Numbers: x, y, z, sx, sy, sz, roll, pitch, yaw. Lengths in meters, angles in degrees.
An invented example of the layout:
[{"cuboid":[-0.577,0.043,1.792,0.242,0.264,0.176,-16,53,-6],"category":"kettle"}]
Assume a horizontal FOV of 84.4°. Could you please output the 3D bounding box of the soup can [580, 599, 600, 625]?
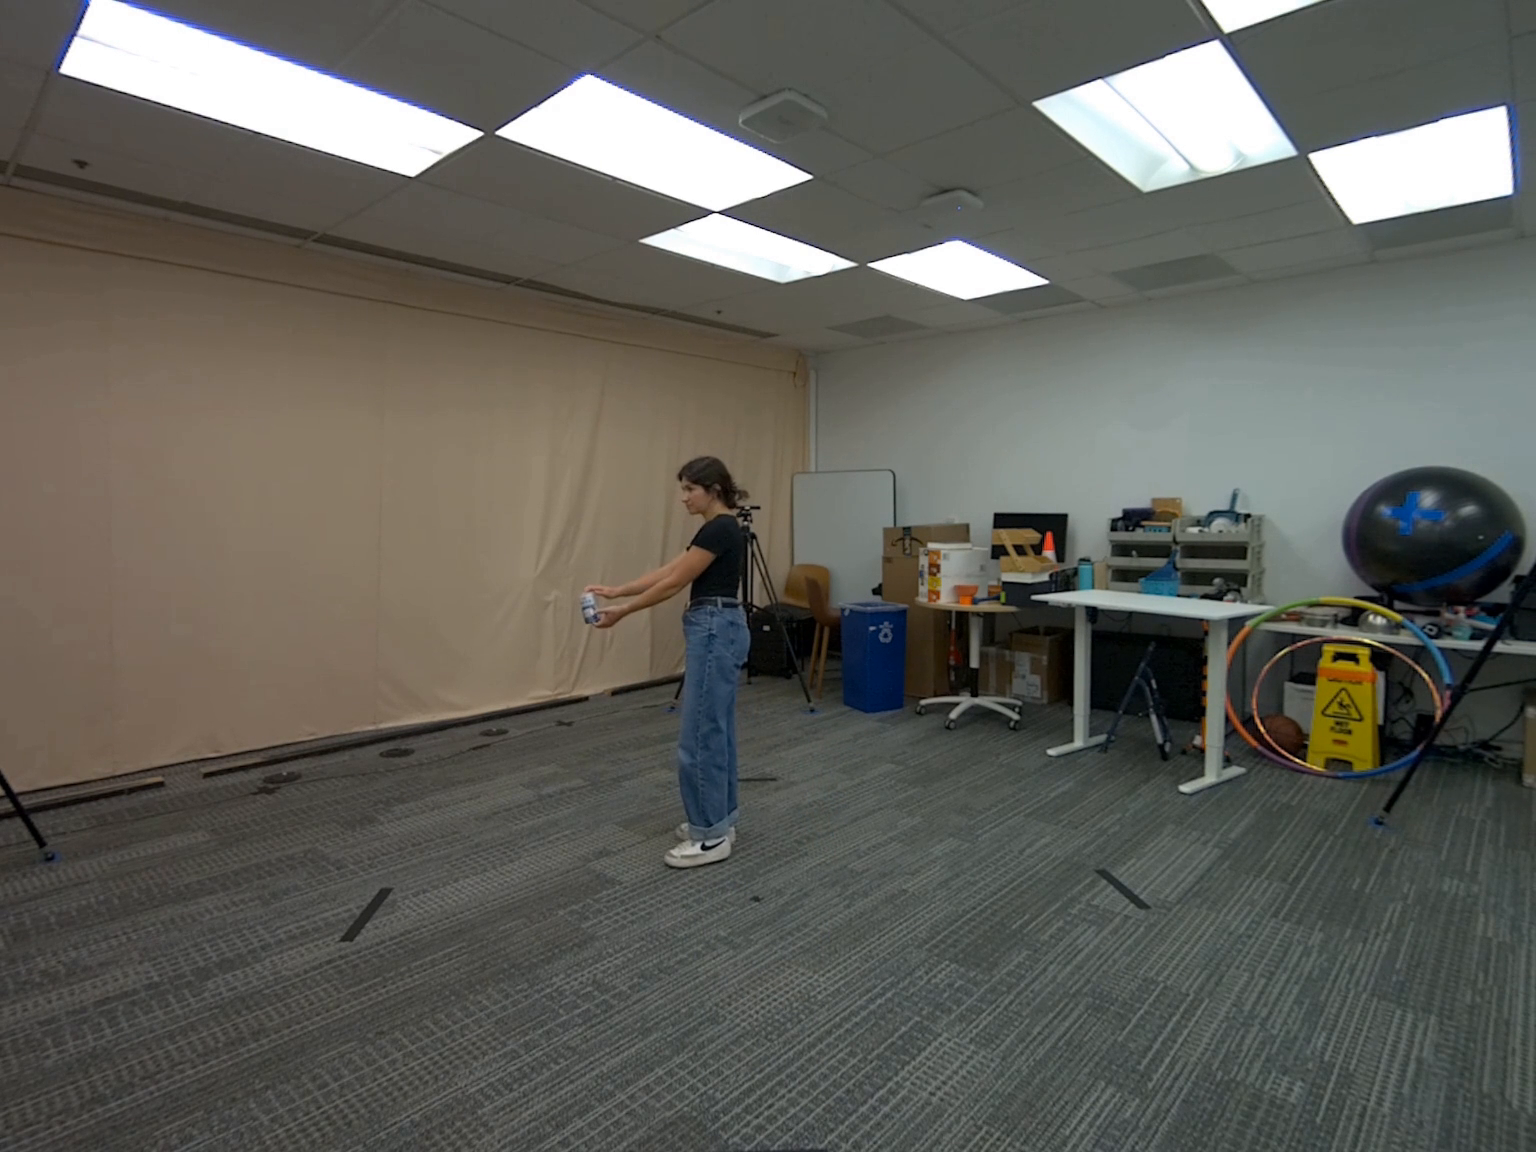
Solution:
[{"cuboid":[-0.712,0.192,3.435,0.067,0.121,0.067,-4,-1,-2],"category":"soup can"}]
